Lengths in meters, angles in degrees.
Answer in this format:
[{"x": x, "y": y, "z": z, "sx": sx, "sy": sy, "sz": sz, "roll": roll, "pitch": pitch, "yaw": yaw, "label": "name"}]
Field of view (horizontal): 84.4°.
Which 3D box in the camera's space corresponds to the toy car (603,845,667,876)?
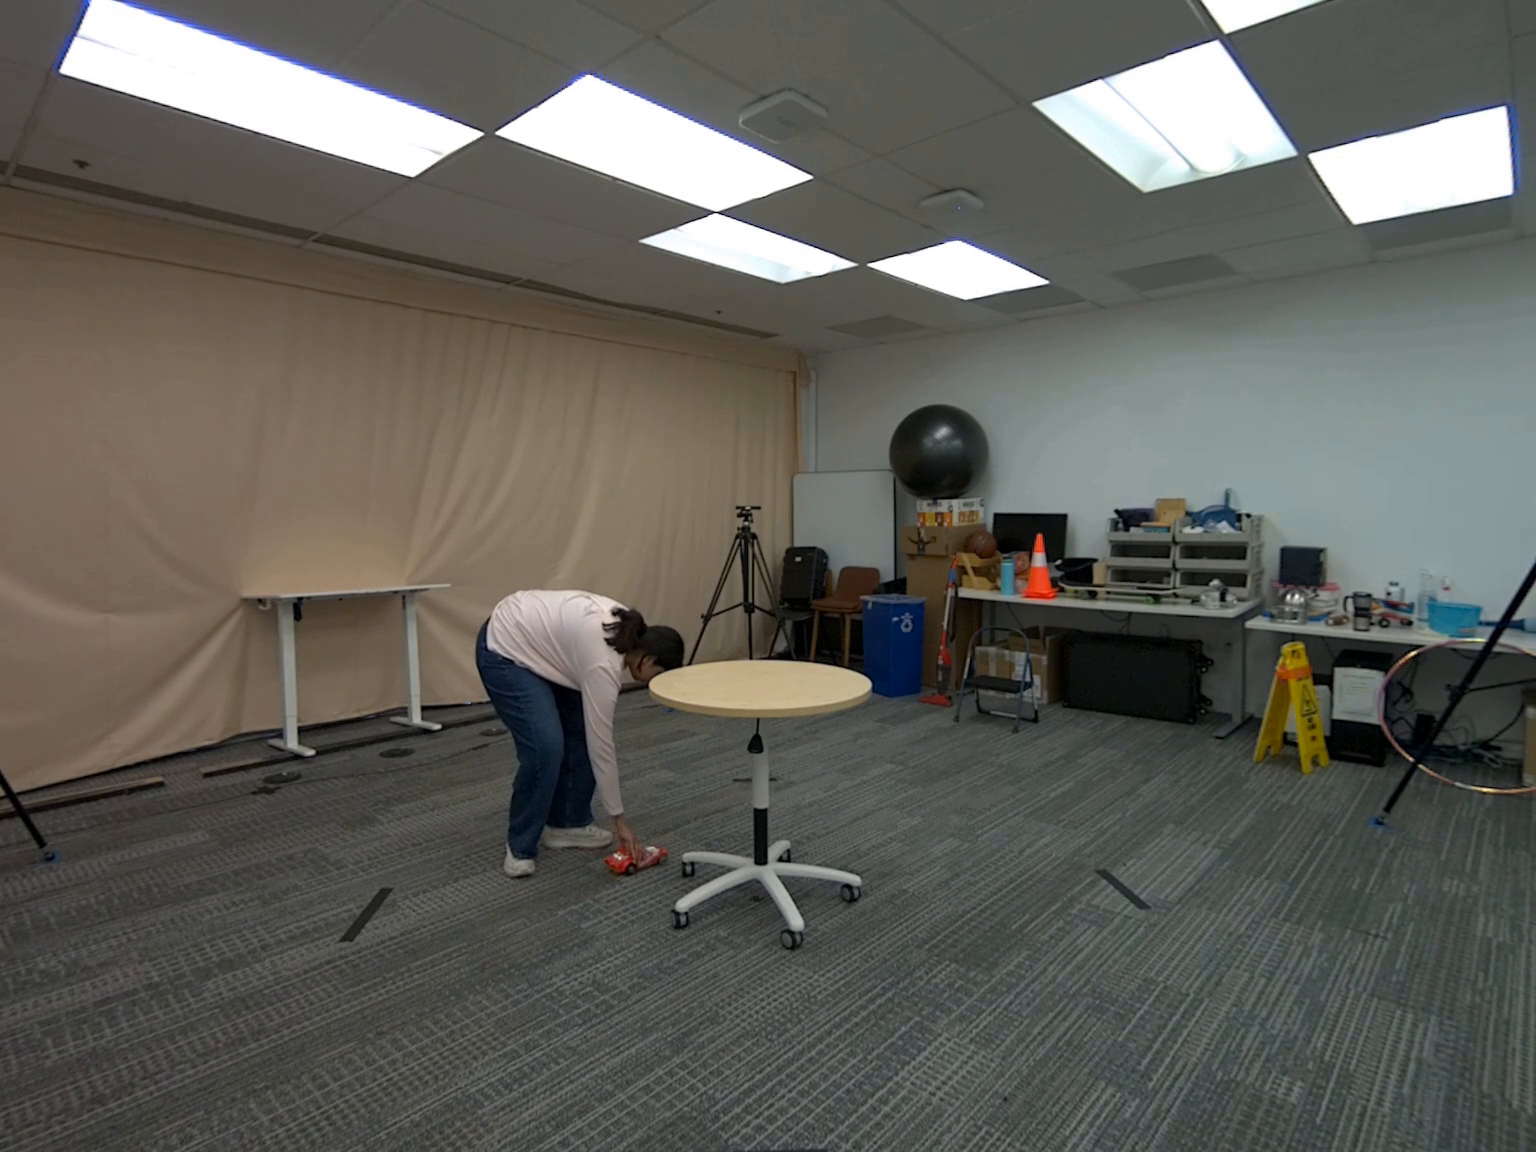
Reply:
[{"x": -0.517, "y": 1.100, "z": 3.248, "sx": 0.246, "sy": 0.083, "sz": 0.134, "roll": 9, "pitch": -2, "yaw": -36, "label": "toy car"}]
